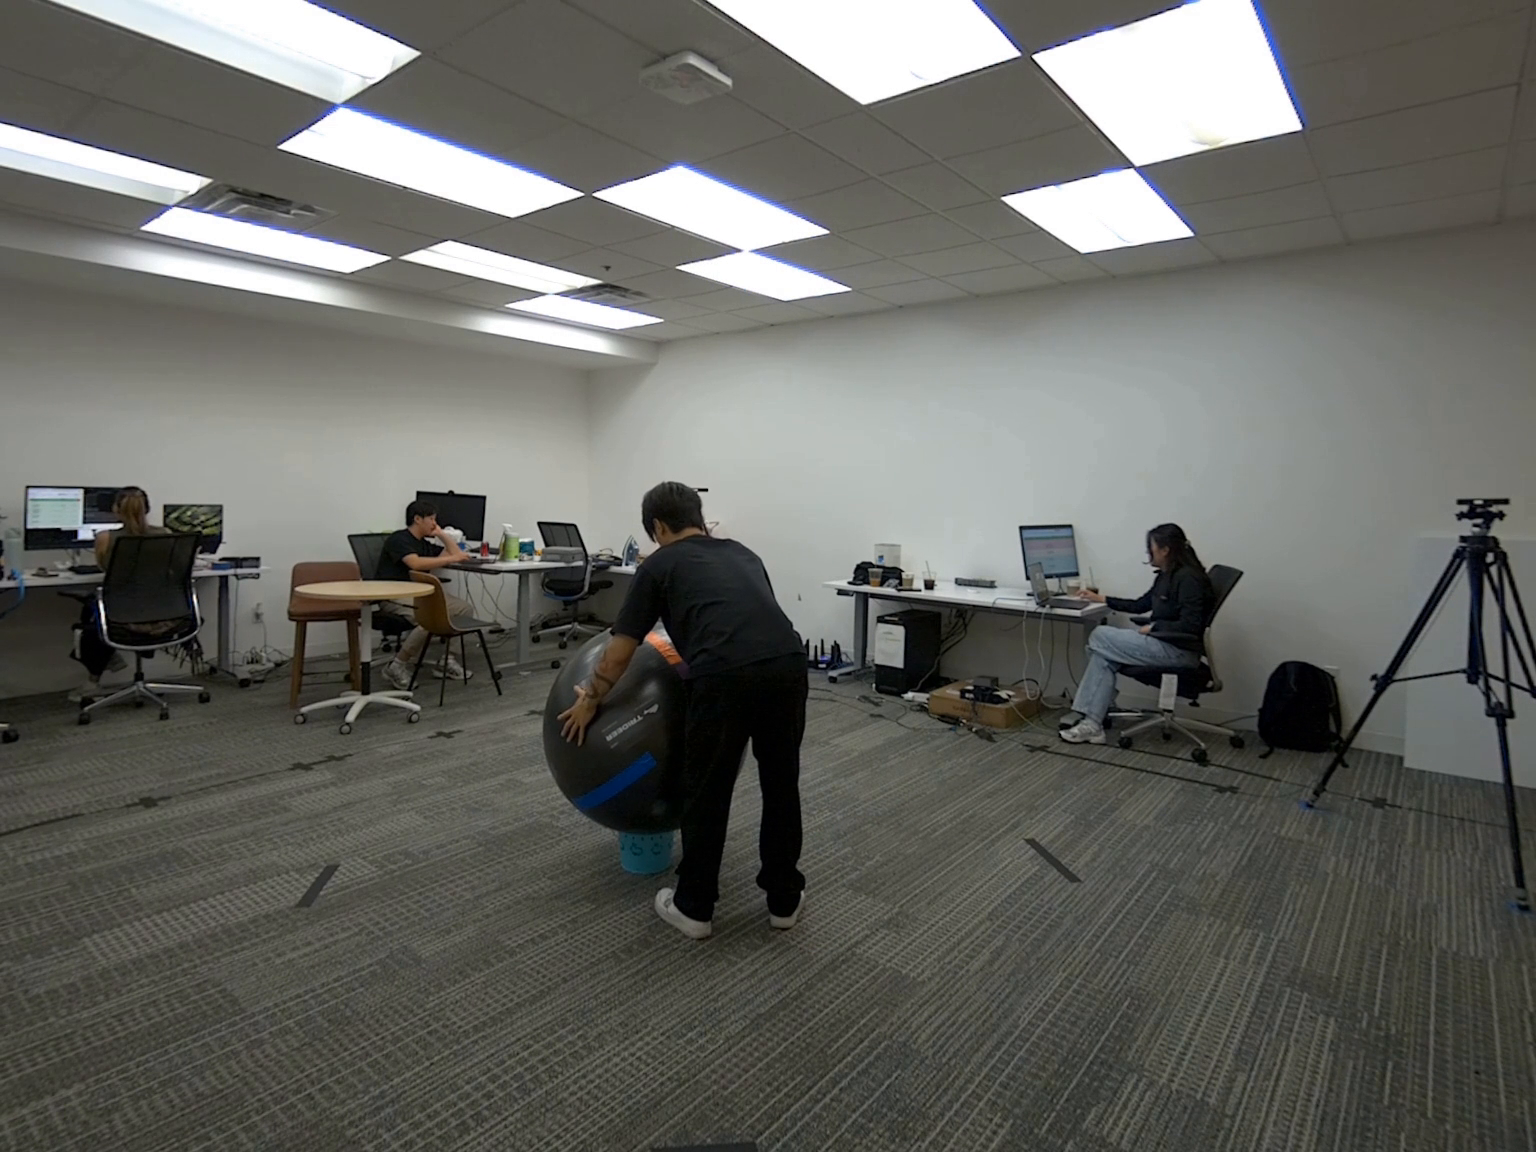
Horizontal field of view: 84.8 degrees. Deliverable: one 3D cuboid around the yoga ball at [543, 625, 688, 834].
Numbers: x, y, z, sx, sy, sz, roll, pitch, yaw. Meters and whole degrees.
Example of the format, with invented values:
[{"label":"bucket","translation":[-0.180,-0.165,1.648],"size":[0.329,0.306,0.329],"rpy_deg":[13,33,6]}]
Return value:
[{"label":"yoga ball","translation":[-0.458,0.552,3.128],"size":[0.757,0.755,0.762],"rpy_deg":[1,4,-2]}]
